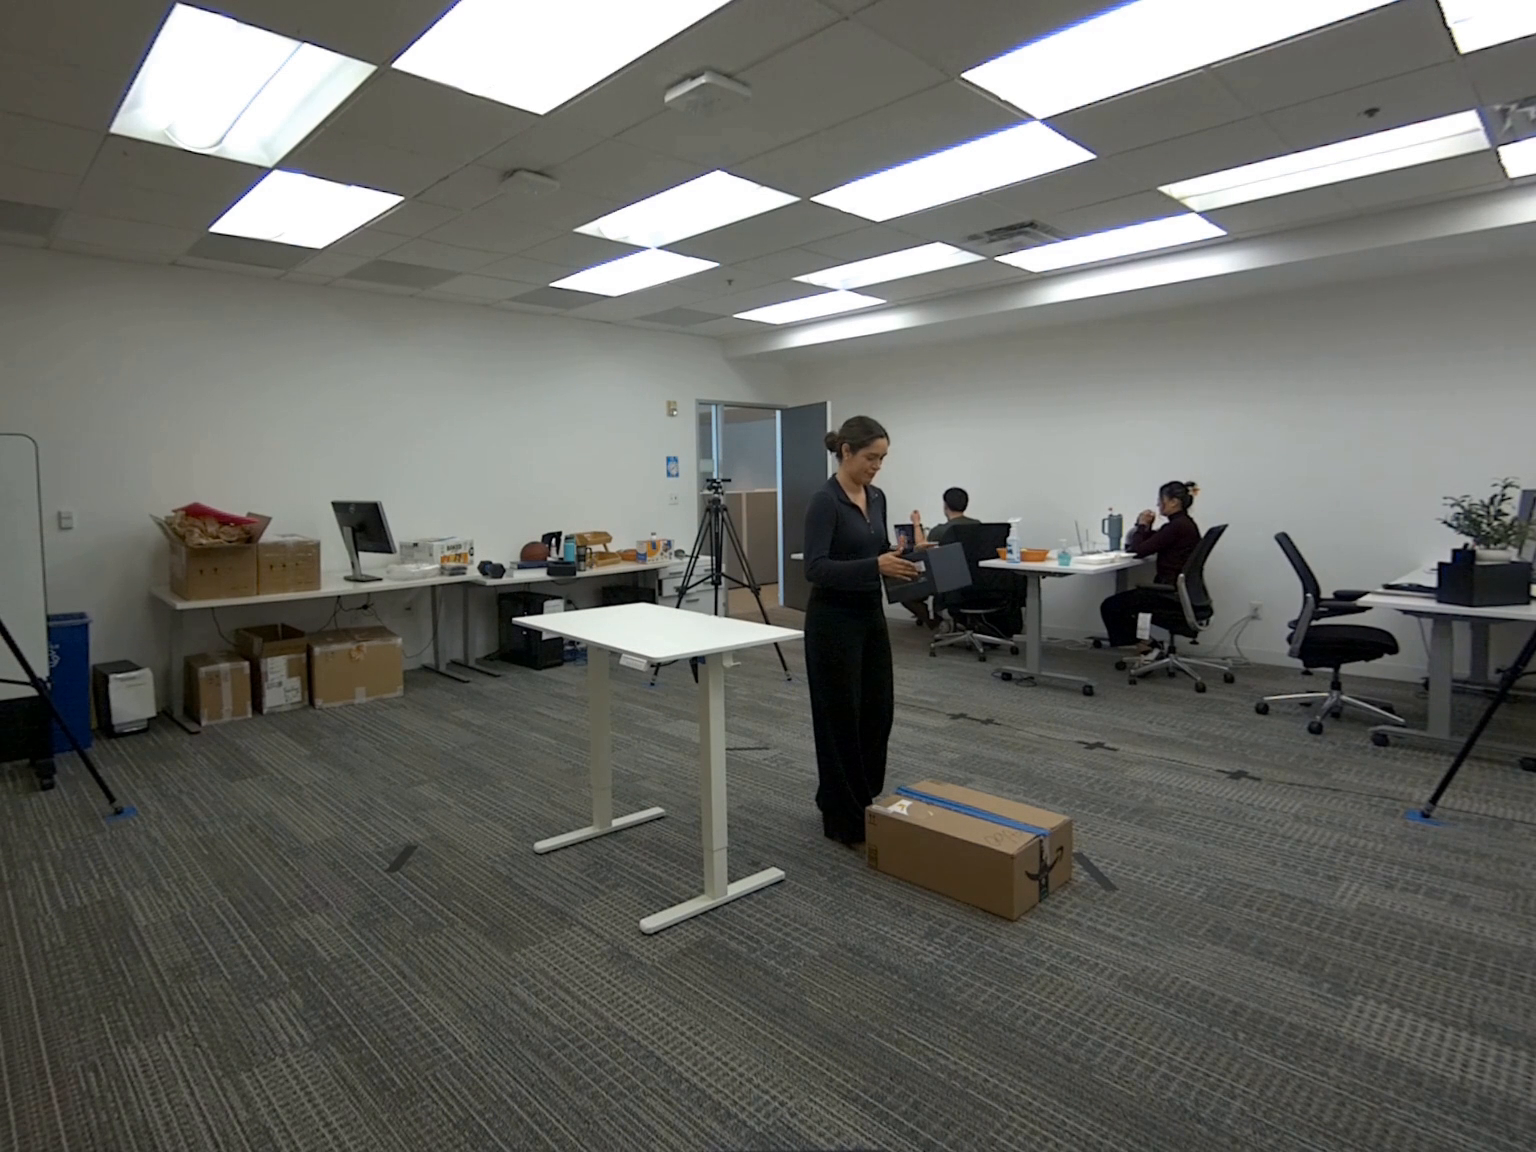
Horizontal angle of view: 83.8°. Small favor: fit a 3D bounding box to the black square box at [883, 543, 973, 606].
[{"bbox_3d":[0.556,-0.007,3.054,0.222,0.156,0.221,-10,-3,-44],"label":"black square box"}]
